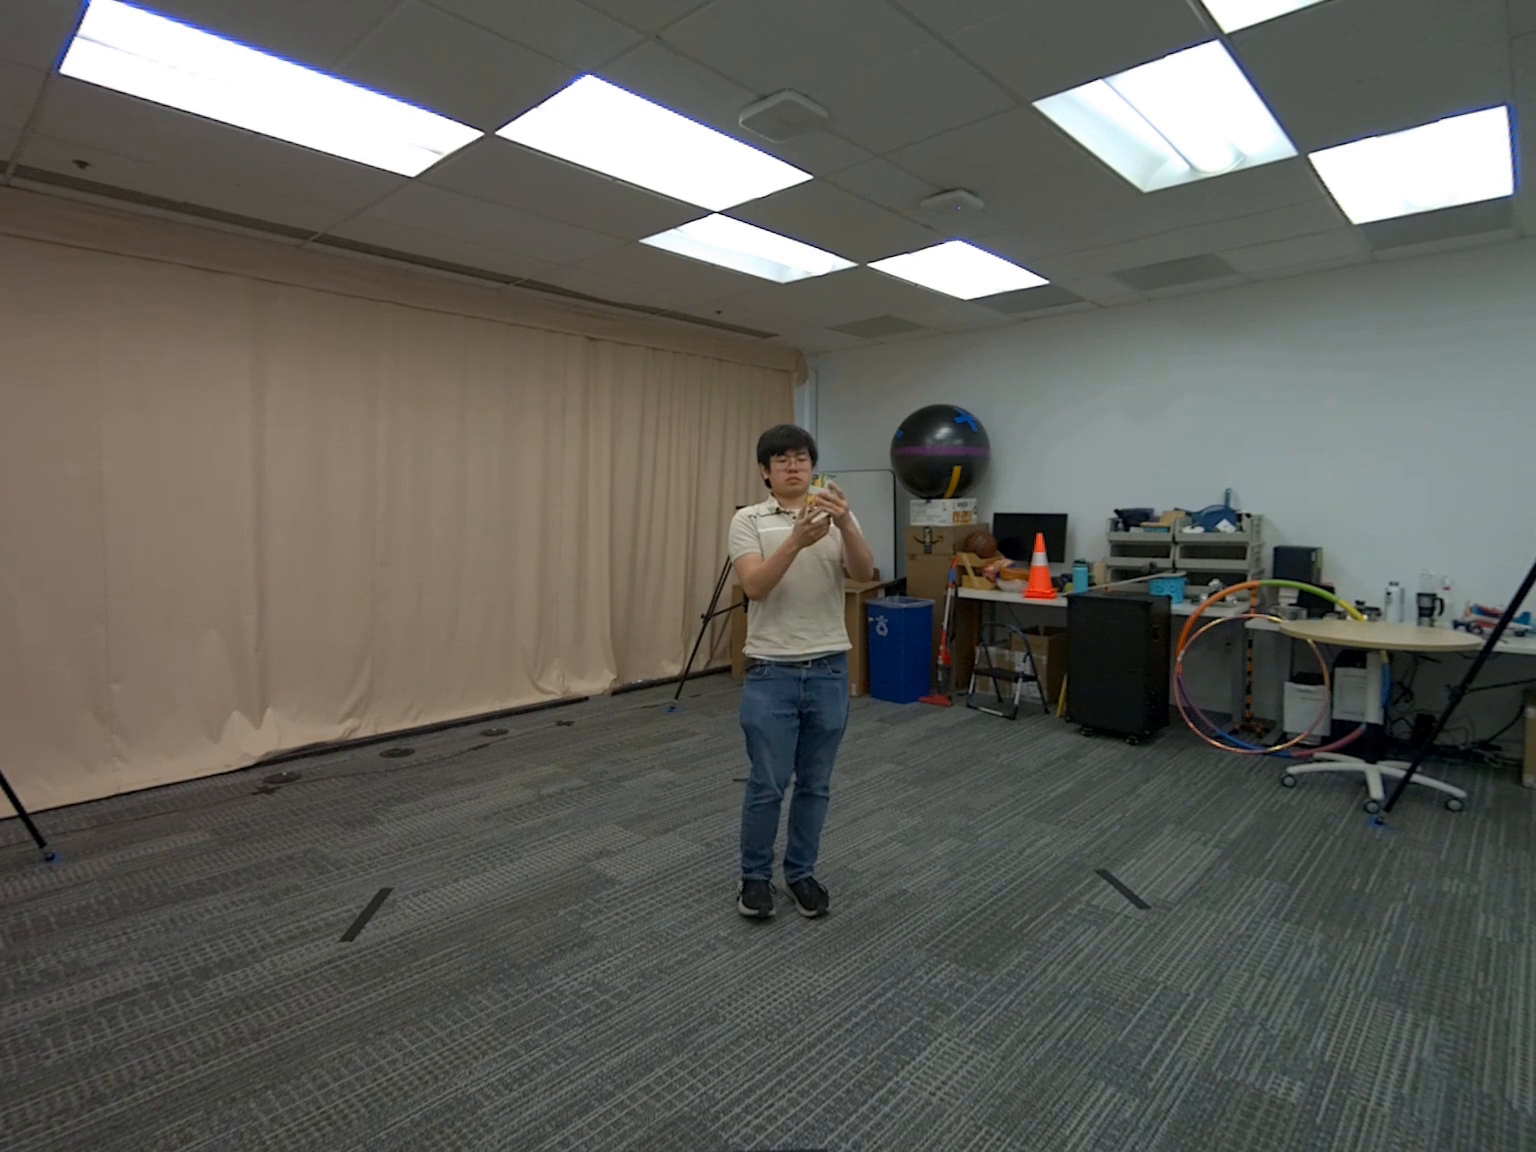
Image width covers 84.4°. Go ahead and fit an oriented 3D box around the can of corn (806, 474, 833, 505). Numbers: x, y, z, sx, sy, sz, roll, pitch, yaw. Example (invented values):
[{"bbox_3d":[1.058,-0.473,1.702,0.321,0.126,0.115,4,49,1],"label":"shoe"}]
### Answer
[{"bbox_3d":[0.158,-0.264,2.609,0.074,0.111,0.074,10,4,-3],"label":"can of corn"}]
